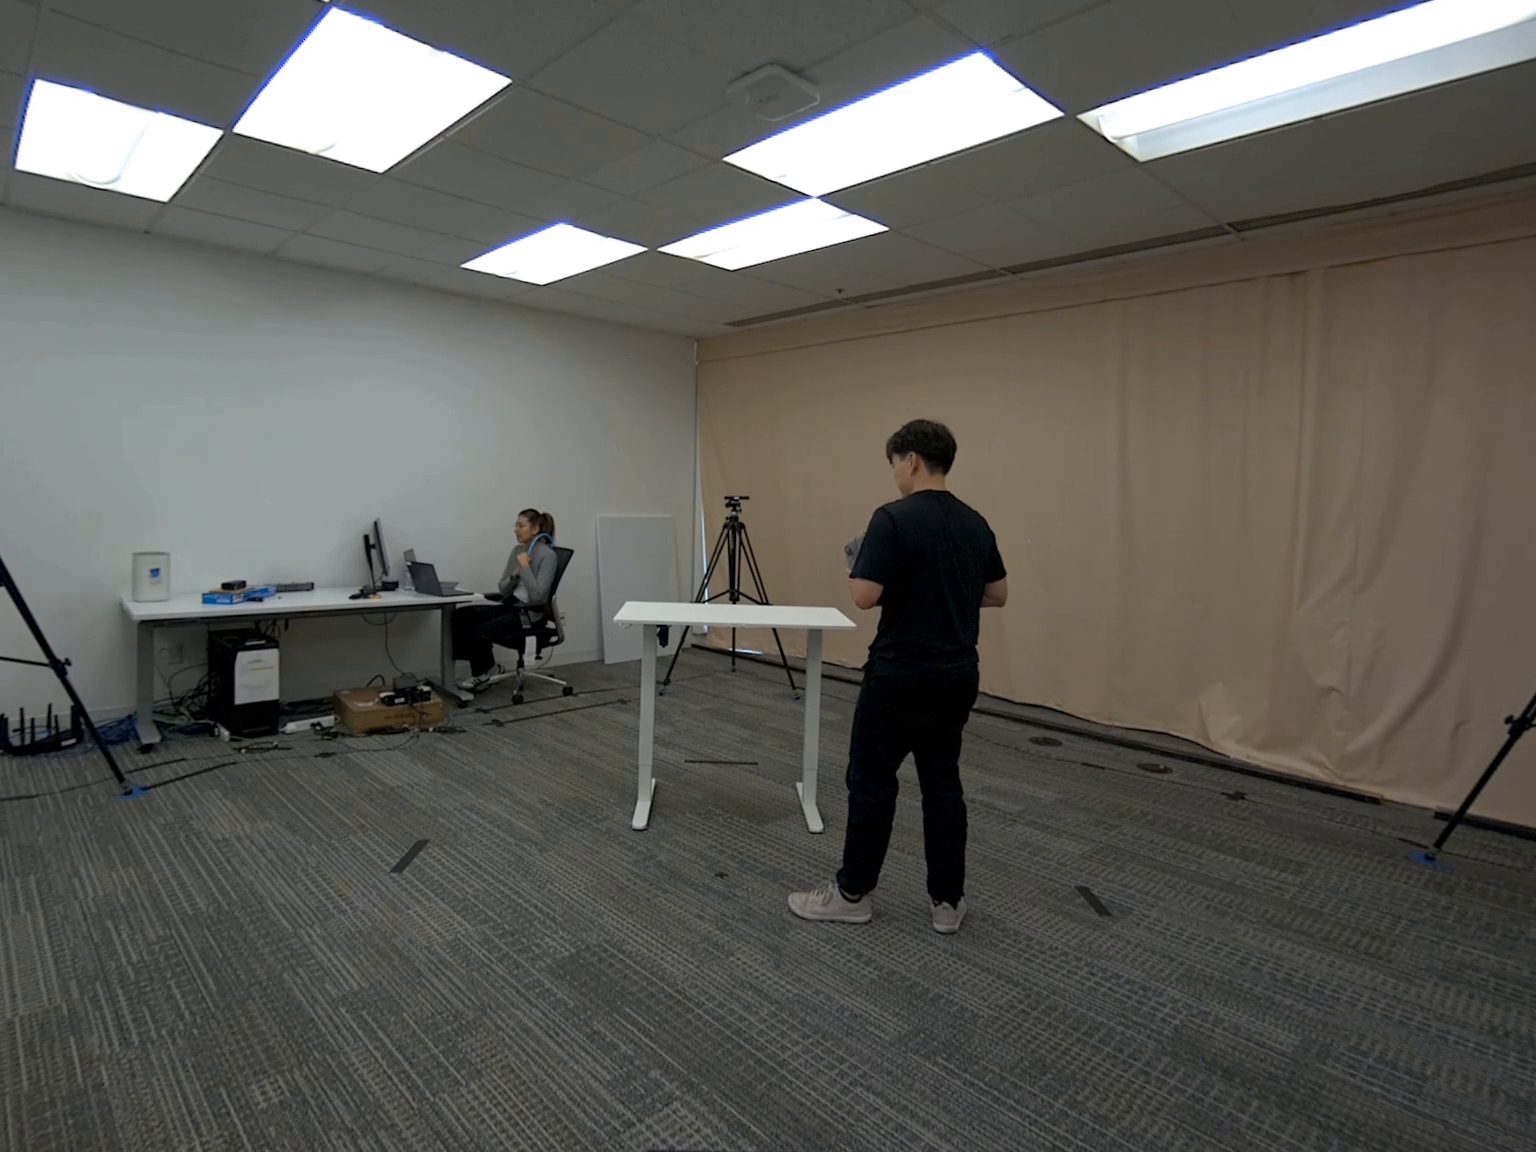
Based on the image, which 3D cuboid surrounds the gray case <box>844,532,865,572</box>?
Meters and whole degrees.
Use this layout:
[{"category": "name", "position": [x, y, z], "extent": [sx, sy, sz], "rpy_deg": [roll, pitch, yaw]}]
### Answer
[{"category": "gray case", "position": [0.410, -0.021, 3.008], "extent": [0.251, 0.264, 0.105], "rpy_deg": [3, -22, -34]}]
